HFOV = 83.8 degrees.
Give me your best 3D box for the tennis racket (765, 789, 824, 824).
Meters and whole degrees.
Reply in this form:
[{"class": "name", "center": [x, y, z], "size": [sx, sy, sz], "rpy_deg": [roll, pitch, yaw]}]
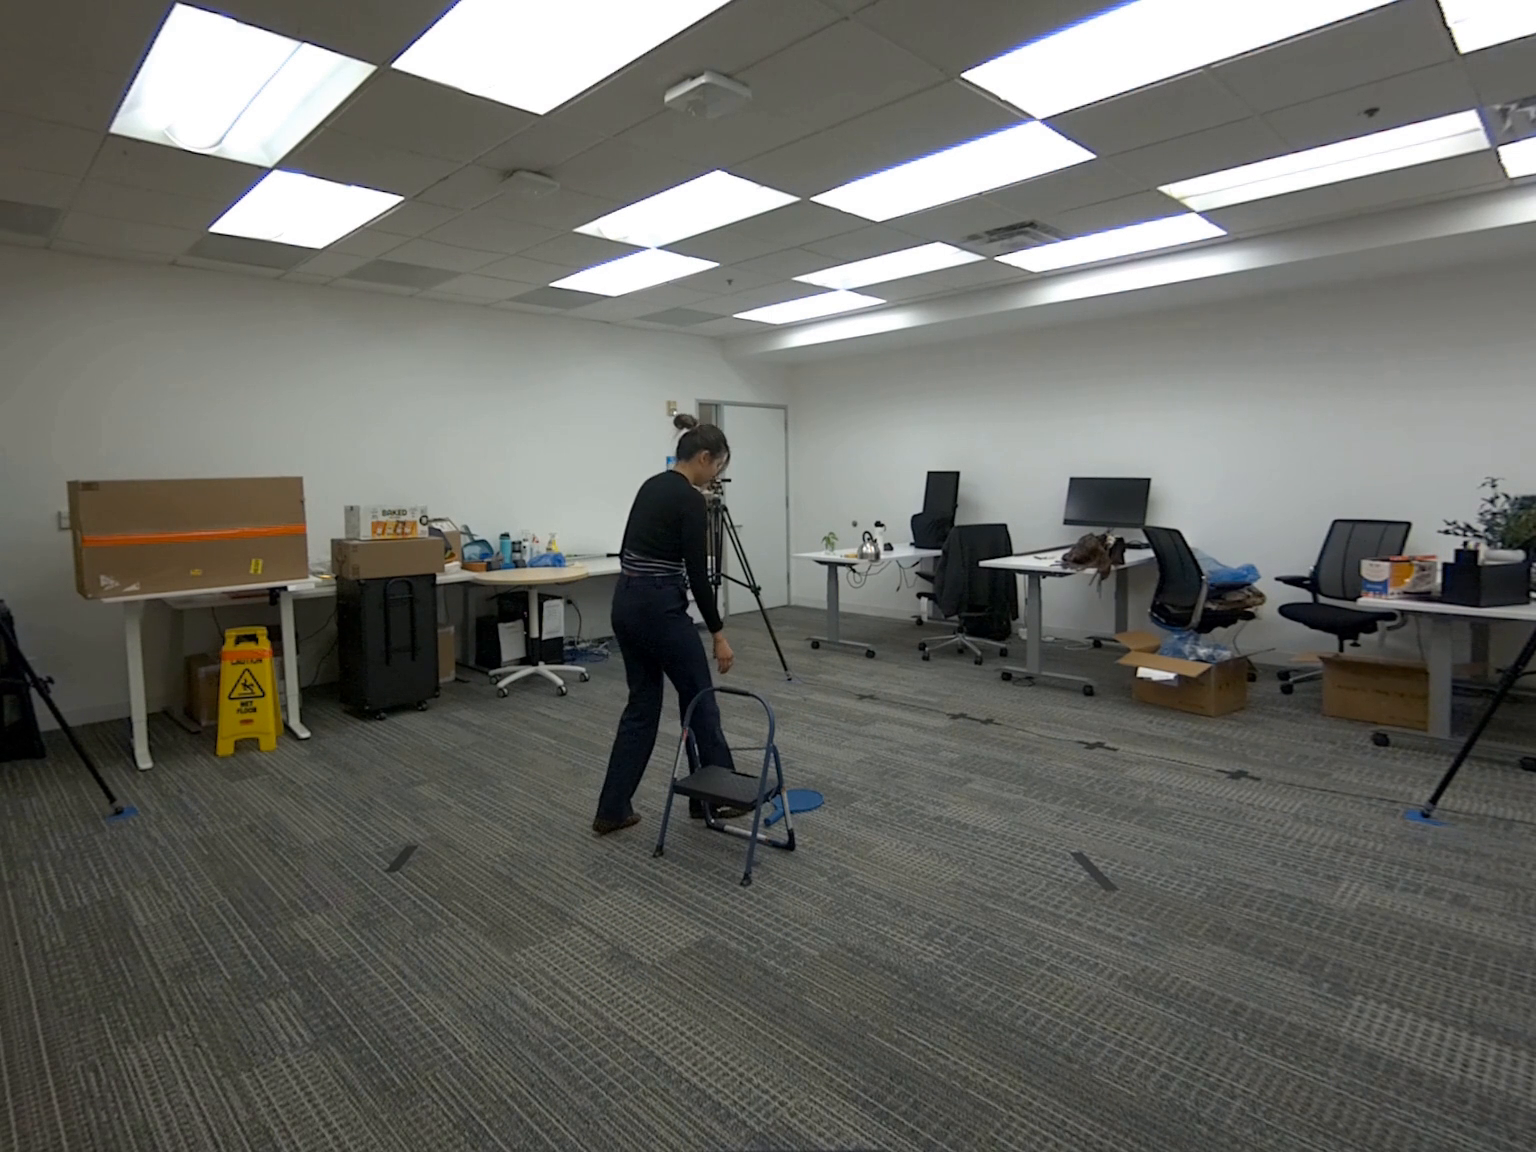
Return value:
[{"class": "tennis racket", "center": [0.091, 0.970, 3.618], "size": [0.219, 0.031, 0.424], "rpy_deg": [3, 6, 26]}]
